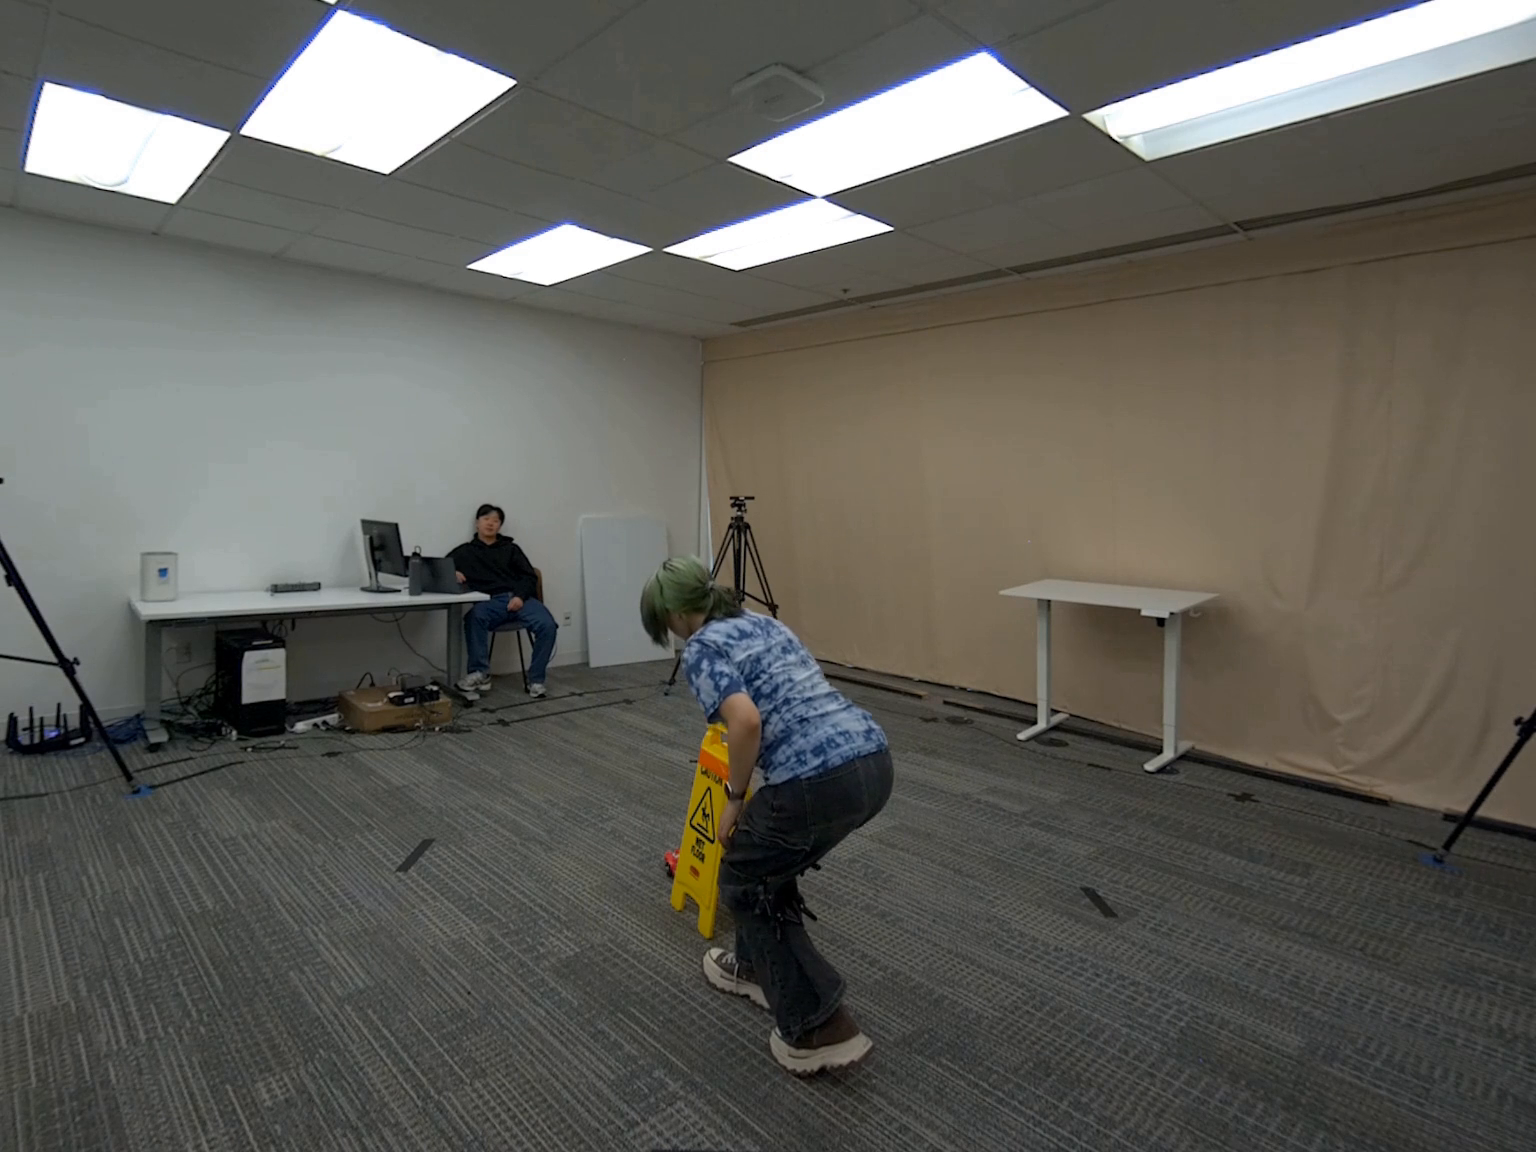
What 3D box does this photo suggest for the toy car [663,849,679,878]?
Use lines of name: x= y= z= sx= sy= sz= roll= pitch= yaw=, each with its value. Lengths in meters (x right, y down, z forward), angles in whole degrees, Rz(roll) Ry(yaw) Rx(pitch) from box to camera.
toy car: x=-0.301 y=1.079 z=3.066 sx=0.128 sy=0.082 sz=0.262 roll=0 pitch=19 yaw=-28
